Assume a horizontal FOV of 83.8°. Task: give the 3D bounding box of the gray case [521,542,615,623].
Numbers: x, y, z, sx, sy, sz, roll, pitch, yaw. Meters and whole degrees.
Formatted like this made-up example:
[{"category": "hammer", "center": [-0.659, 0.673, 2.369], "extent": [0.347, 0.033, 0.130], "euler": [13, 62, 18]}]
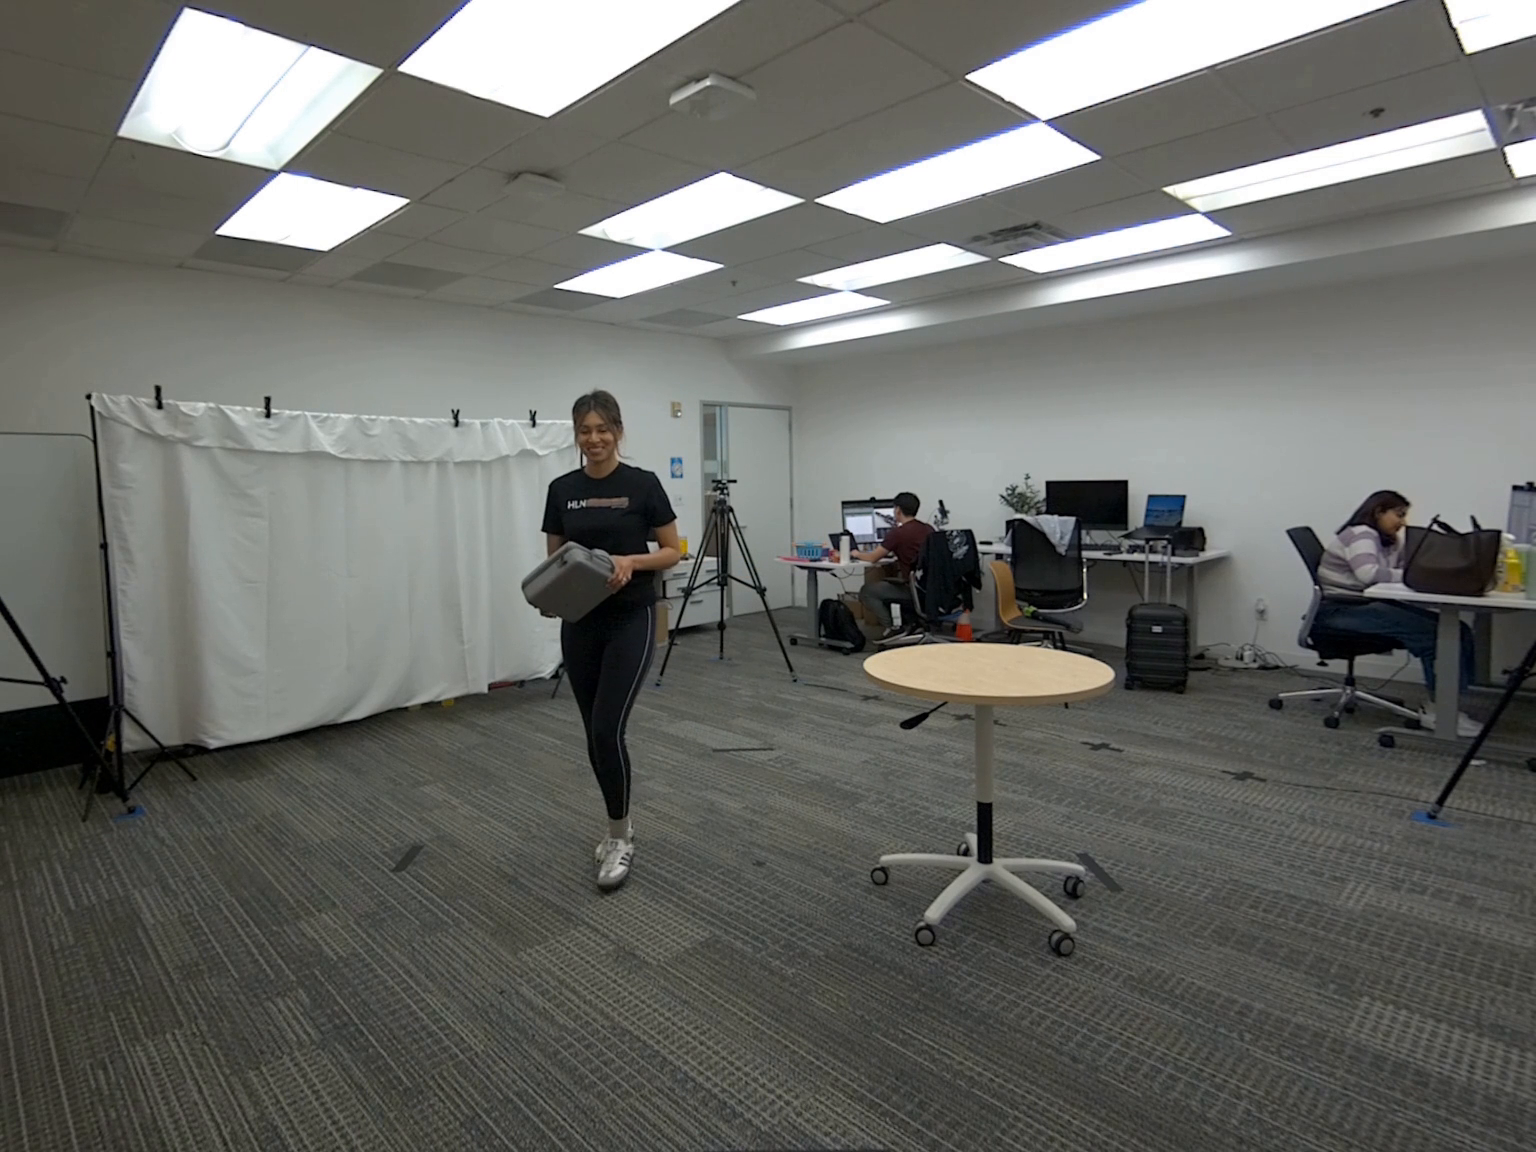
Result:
[{"category": "gray case", "center": [-0.659, 0.022, 2.876], "extent": [0.261, 0.108, 0.247], "euler": [-36, -36, 14]}]
